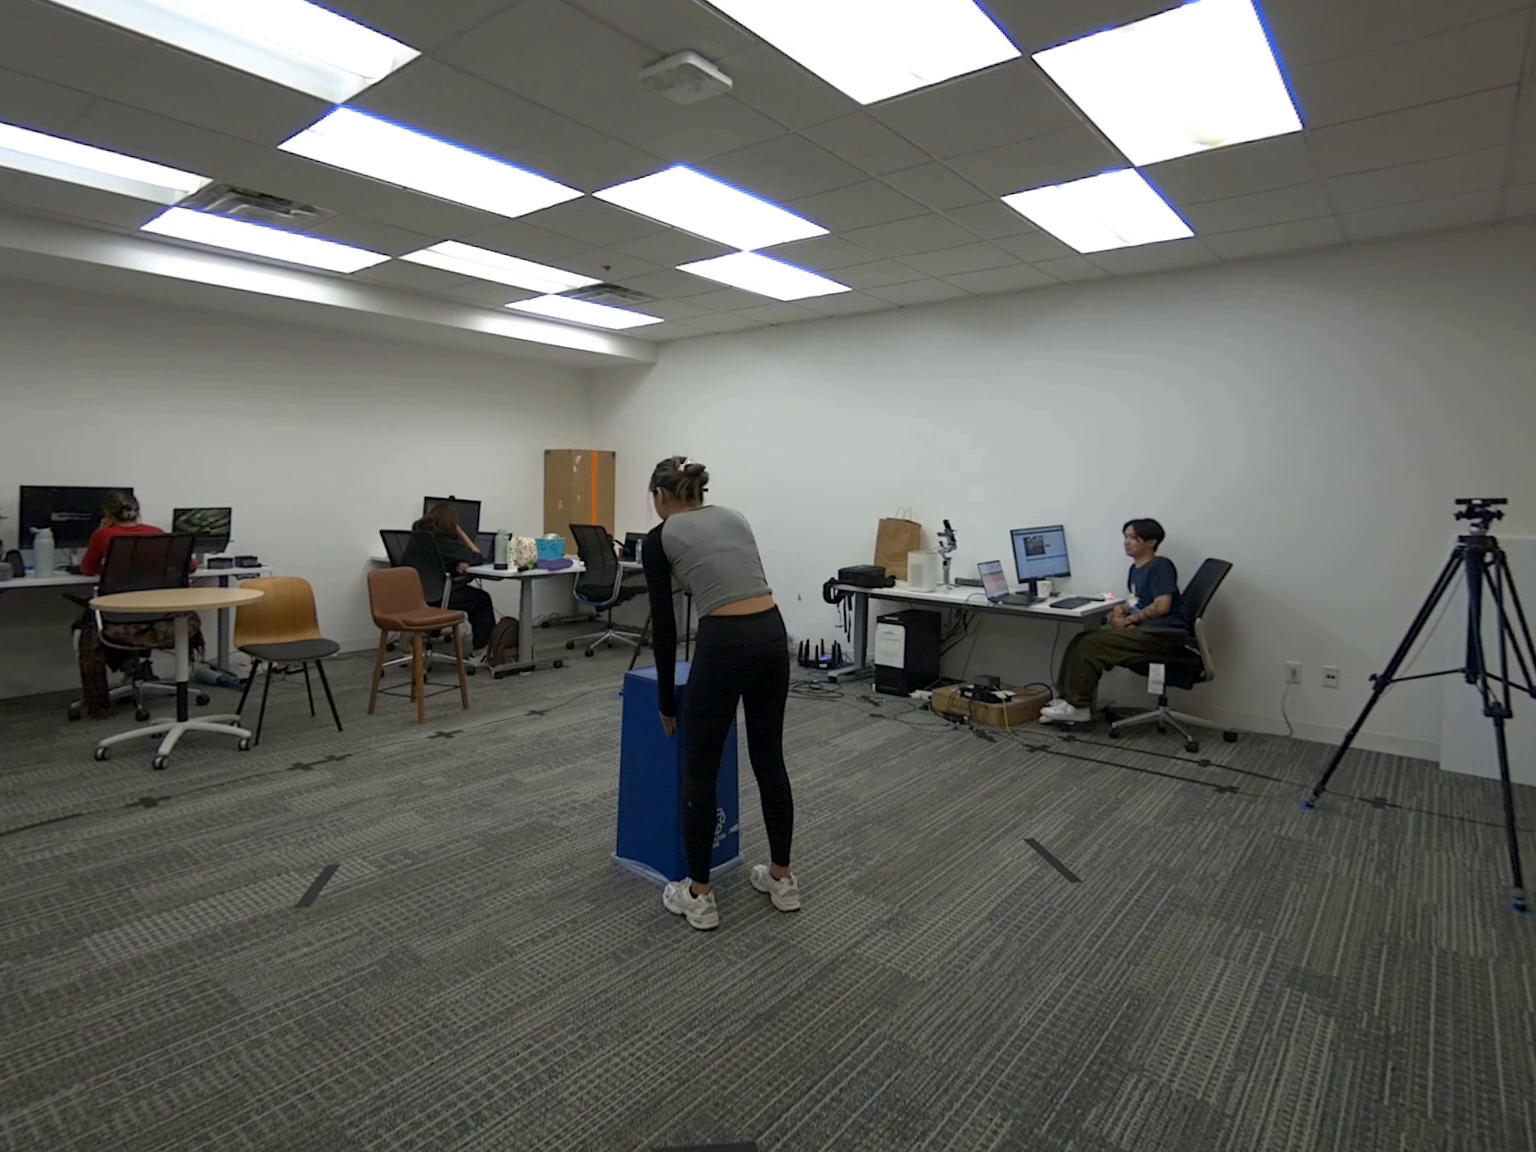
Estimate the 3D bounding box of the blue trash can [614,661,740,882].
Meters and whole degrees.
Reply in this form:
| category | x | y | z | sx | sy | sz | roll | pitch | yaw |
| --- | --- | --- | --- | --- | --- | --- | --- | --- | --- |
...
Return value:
| category | x | y | z | sx | sy | sz | roll | pitch | yaw |
| --- | --- | --- | --- | --- | --- | --- | --- | --- | --- |
| blue trash can | -0.348 | 0.710 | 3.163 | 0.391 | 0.712 | 0.363 | 3 | 4 | 43 |
